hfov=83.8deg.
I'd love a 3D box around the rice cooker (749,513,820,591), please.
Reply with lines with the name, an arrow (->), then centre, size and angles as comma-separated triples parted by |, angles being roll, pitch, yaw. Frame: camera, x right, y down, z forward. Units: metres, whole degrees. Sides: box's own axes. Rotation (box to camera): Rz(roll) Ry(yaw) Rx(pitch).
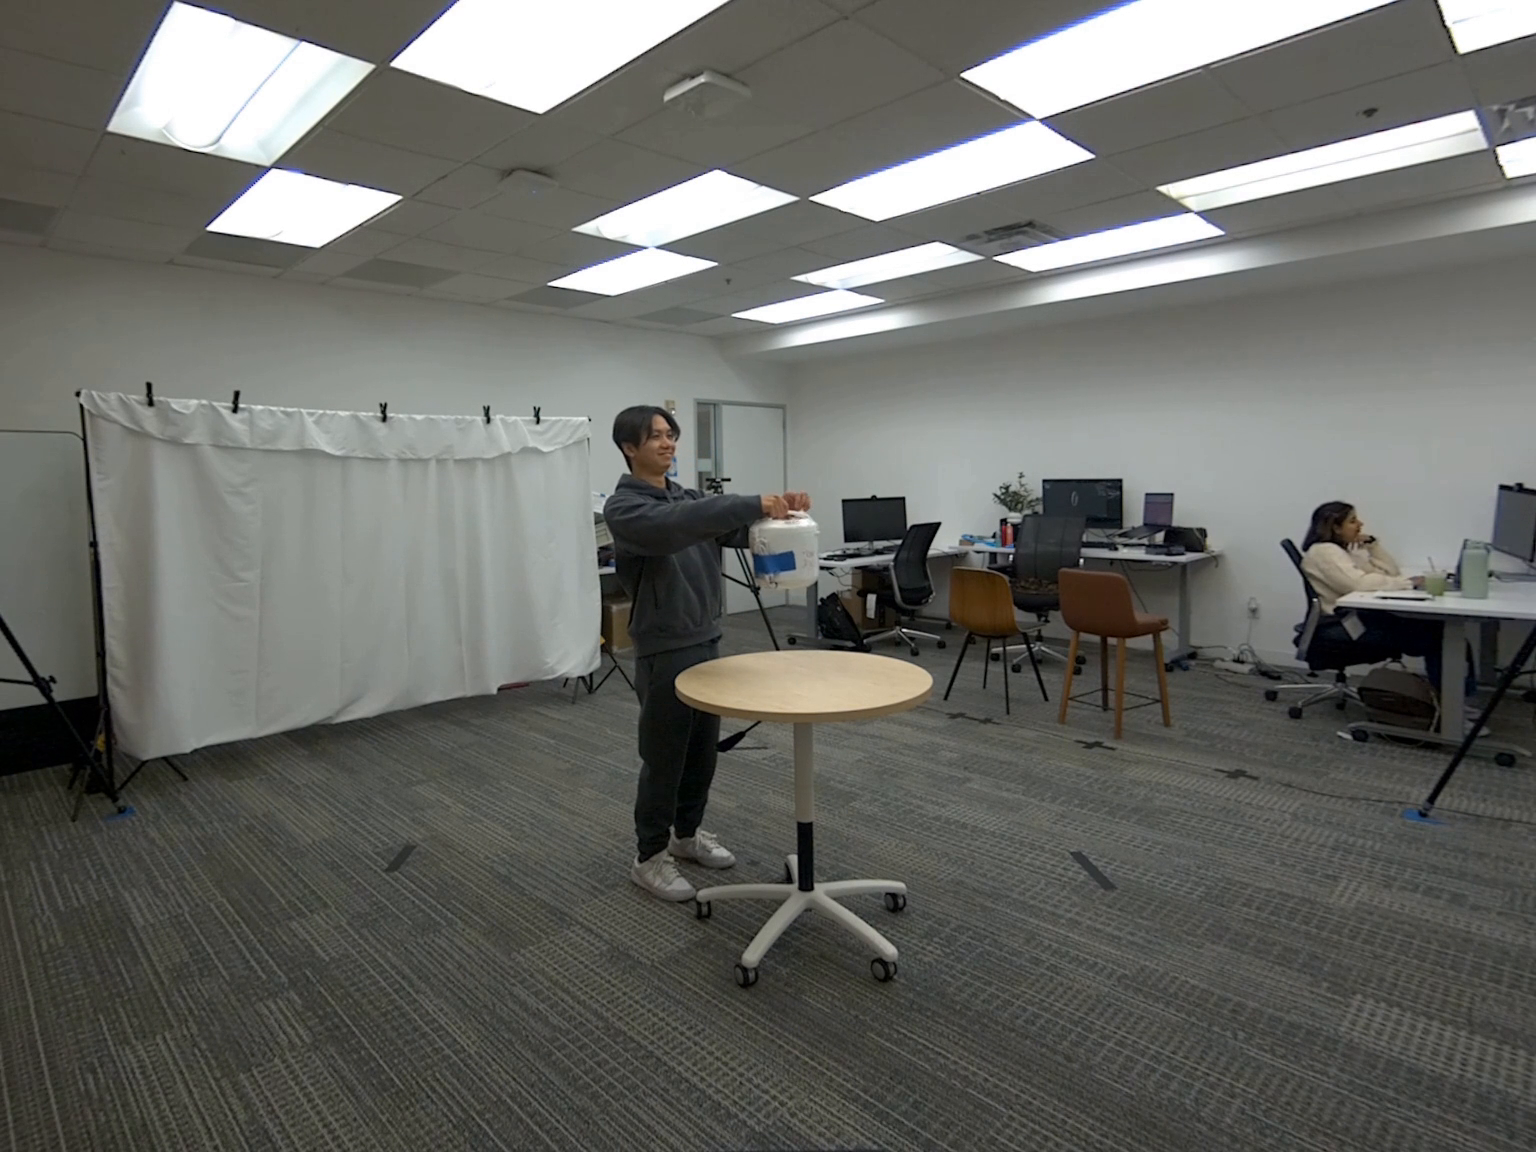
rice cooker -> 0.054, -0.085, 2.637 | 0.218, 0.231, 0.221 | -3, 6, -15
